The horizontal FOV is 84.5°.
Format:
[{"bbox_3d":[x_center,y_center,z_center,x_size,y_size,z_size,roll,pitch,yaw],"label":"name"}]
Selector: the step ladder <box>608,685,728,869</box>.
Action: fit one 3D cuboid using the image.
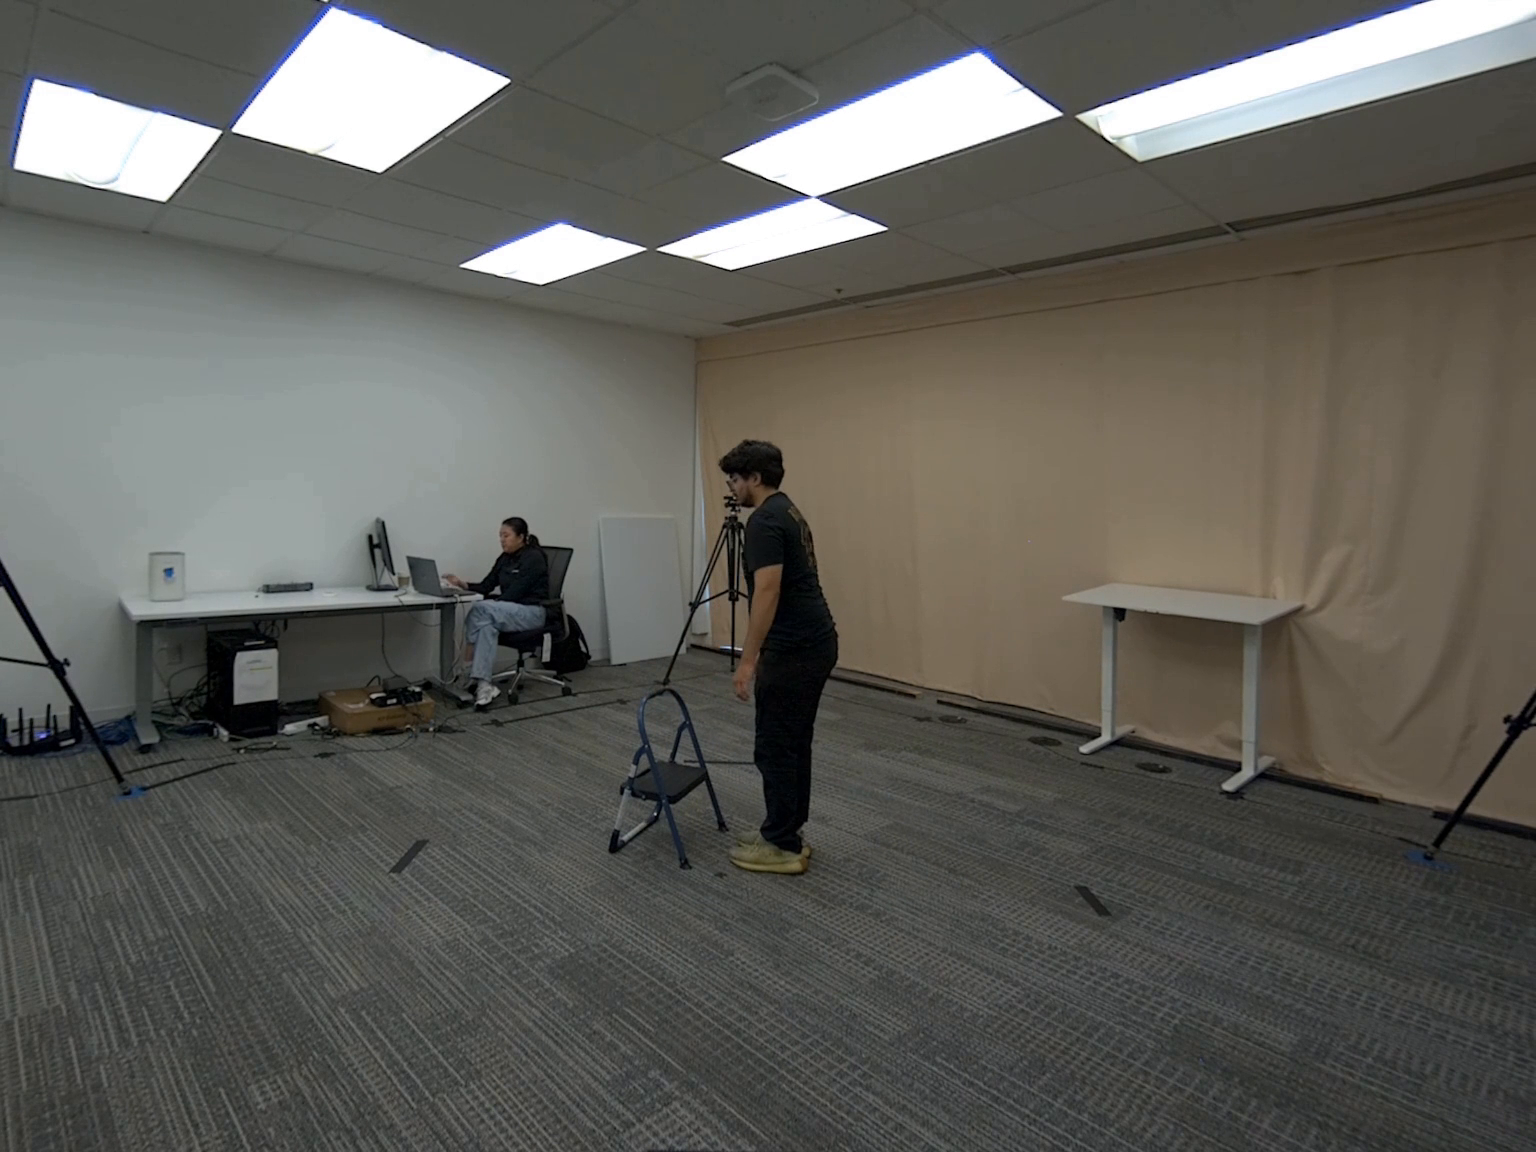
[{"bbox_3d":[-0.391,0.767,3.387,0.355,0.605,0.425,3,3,19],"label":"step ladder"}]
